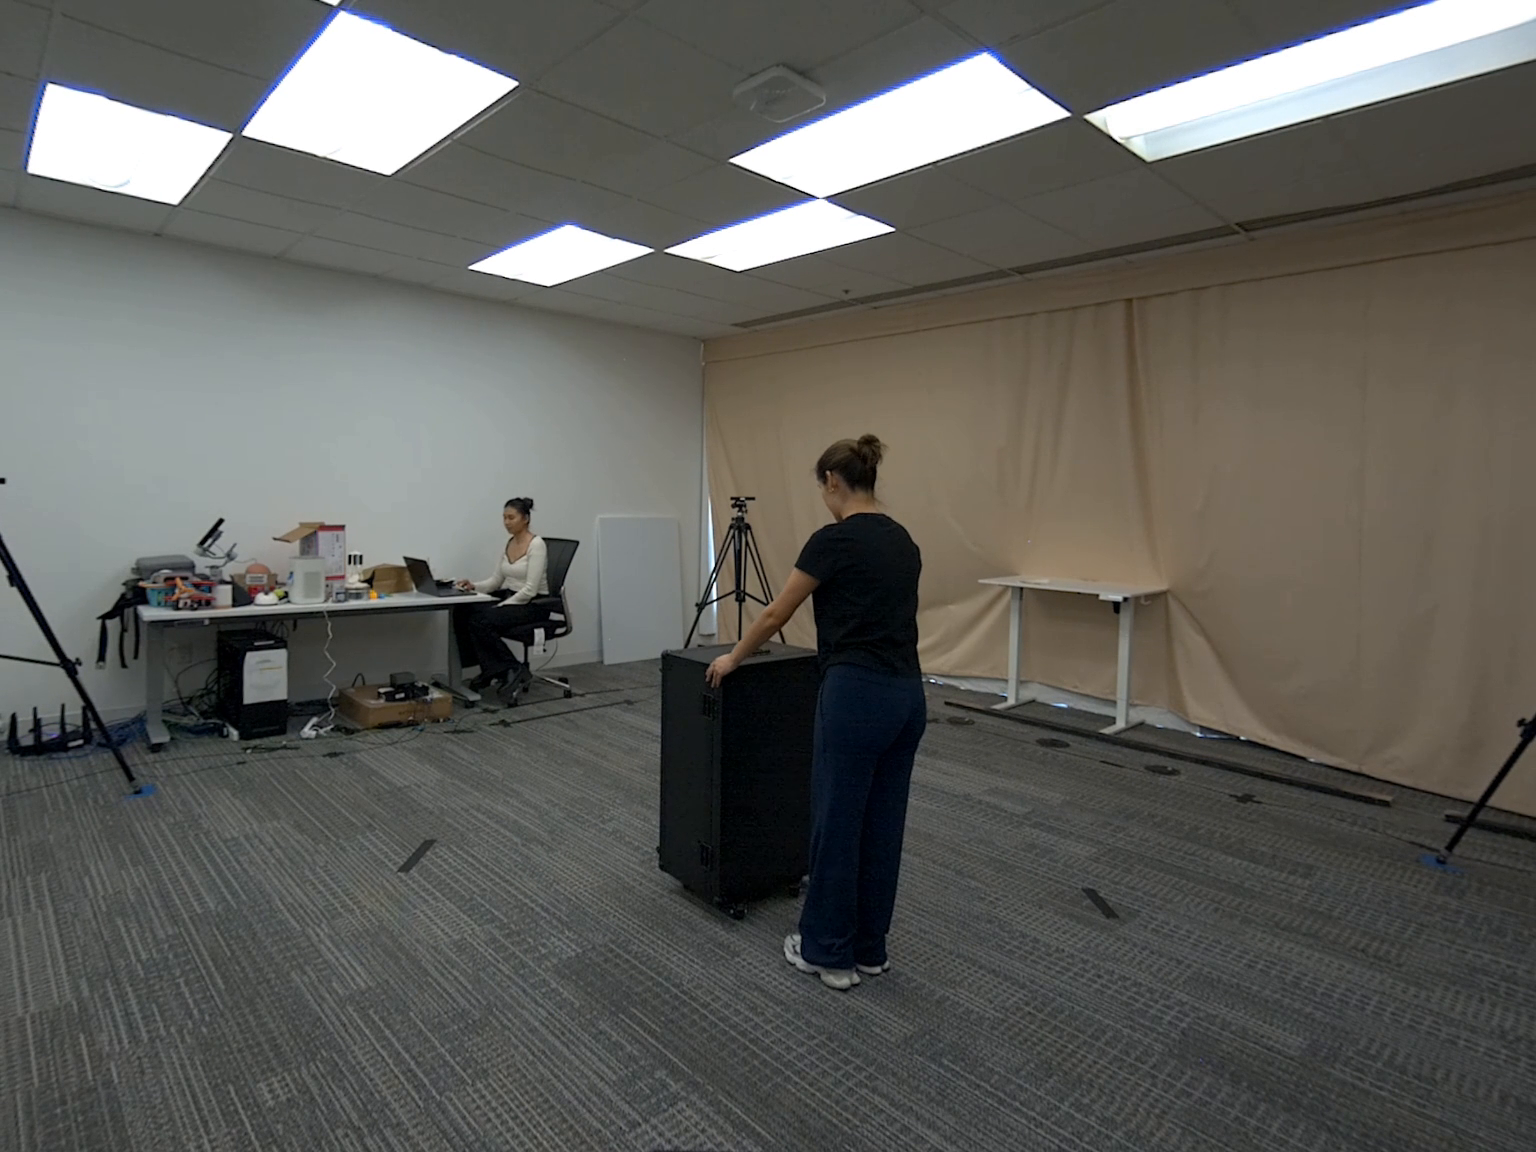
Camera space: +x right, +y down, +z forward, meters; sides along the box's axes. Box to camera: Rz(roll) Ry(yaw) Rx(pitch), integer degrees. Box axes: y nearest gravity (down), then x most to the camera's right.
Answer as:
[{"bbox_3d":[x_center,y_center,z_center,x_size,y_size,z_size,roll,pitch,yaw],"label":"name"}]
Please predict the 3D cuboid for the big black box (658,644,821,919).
[{"bbox_3d":[-0.100,0.694,2.976,0.509,0.860,0.406,-1,3,-40],"label":"big black box"}]
